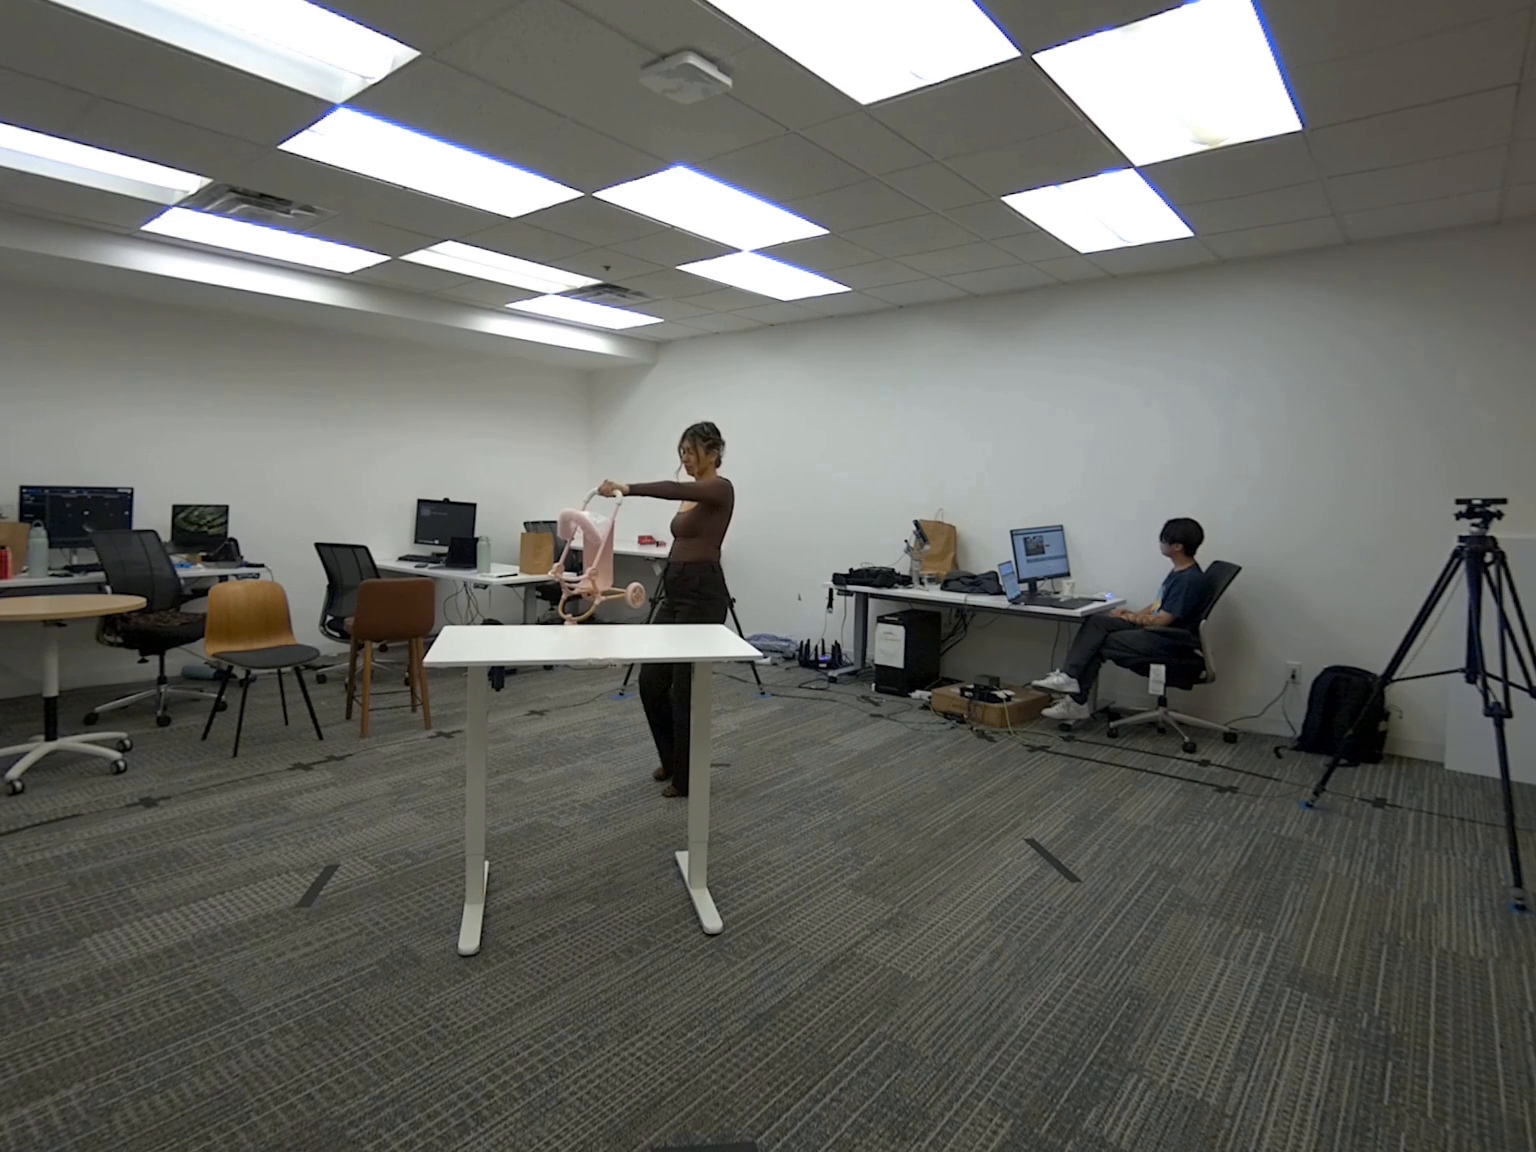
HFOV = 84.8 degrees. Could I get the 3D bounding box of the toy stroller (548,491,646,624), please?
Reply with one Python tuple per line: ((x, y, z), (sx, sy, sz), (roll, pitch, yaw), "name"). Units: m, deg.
((-0.724, -0.045, 3.365), (0.291, 0.526, 0.335), (8, 21, 39), "toy stroller")
